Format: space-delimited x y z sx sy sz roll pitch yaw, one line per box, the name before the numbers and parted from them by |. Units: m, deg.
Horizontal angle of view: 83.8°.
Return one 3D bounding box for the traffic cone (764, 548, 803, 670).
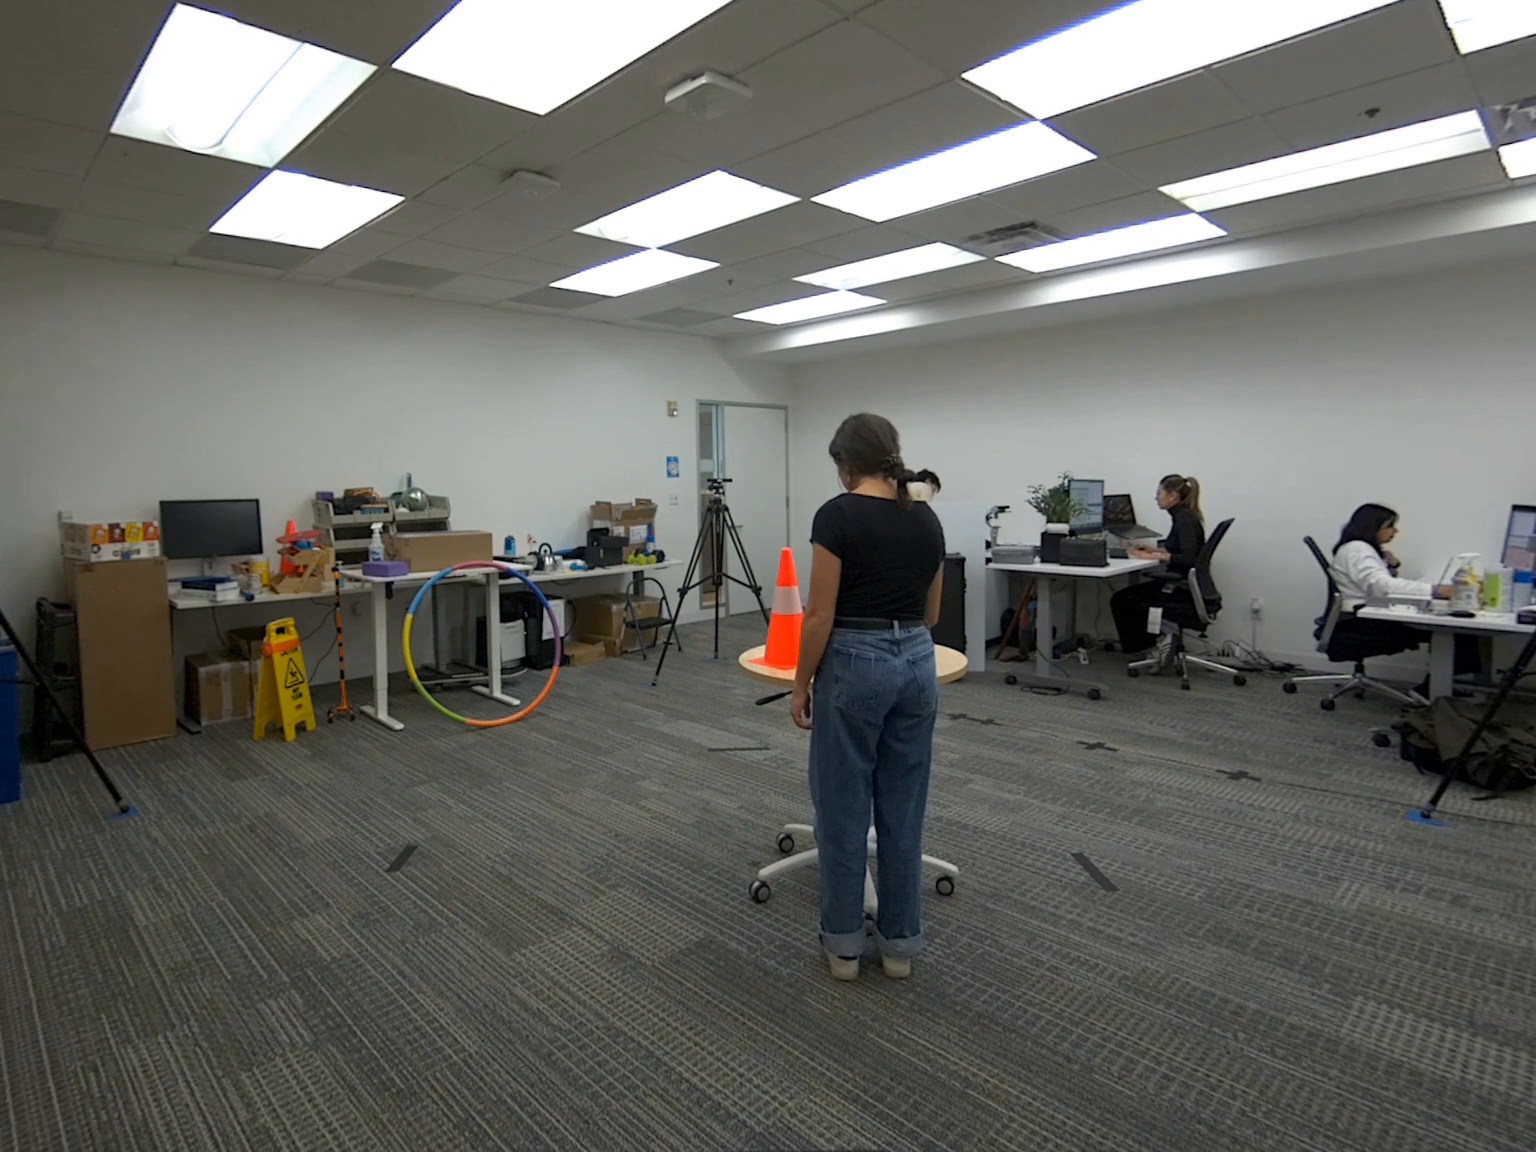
traffic cone | 0.062 0.103 2.860 0.200 0.382 0.209 -6 6 -40
